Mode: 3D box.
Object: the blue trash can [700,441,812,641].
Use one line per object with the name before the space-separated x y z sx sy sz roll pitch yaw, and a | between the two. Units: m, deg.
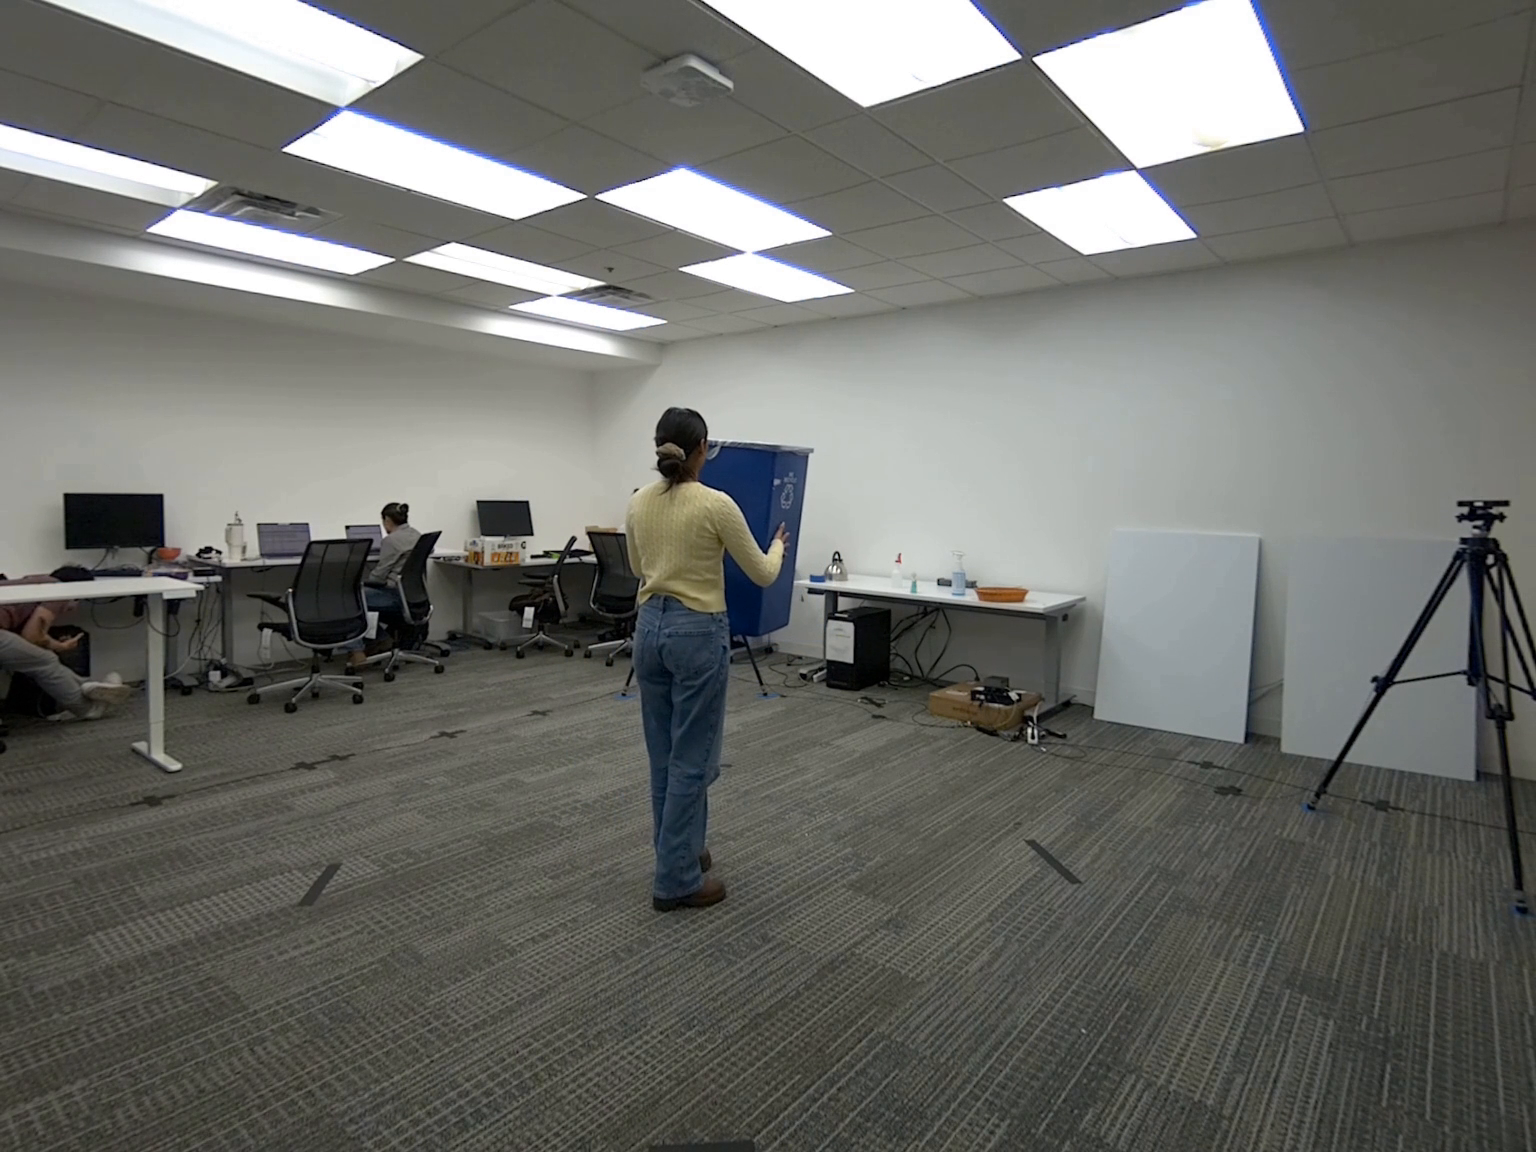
blue trash can | -0.091 -0.165 3.292 0.389 0.709 0.366 9 8 25
